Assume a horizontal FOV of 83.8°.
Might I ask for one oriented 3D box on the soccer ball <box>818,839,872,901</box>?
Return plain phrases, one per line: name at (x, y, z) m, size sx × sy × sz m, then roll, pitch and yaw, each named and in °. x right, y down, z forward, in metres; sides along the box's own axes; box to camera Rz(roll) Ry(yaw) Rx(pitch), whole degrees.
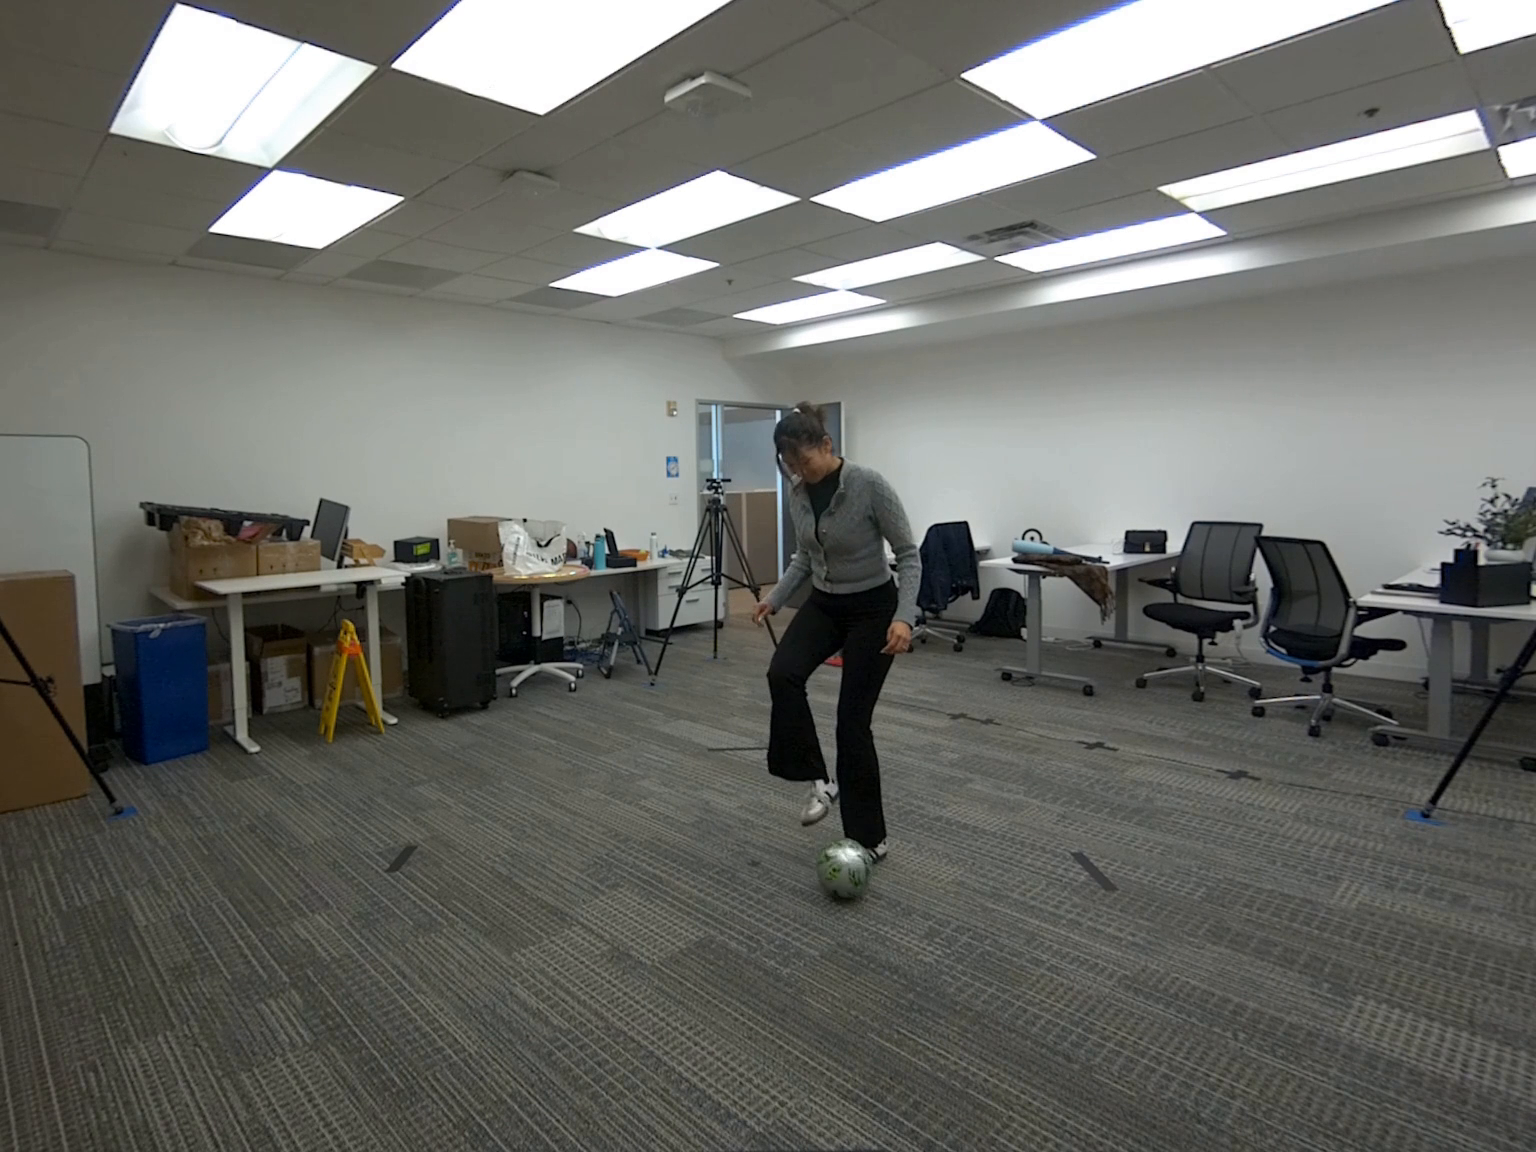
soccer ball at (0.254, 0.973, 2.852) m, size 0.187 × 0.187 × 0.188 m, roll -1°, pitch 5°, yaw -2°
